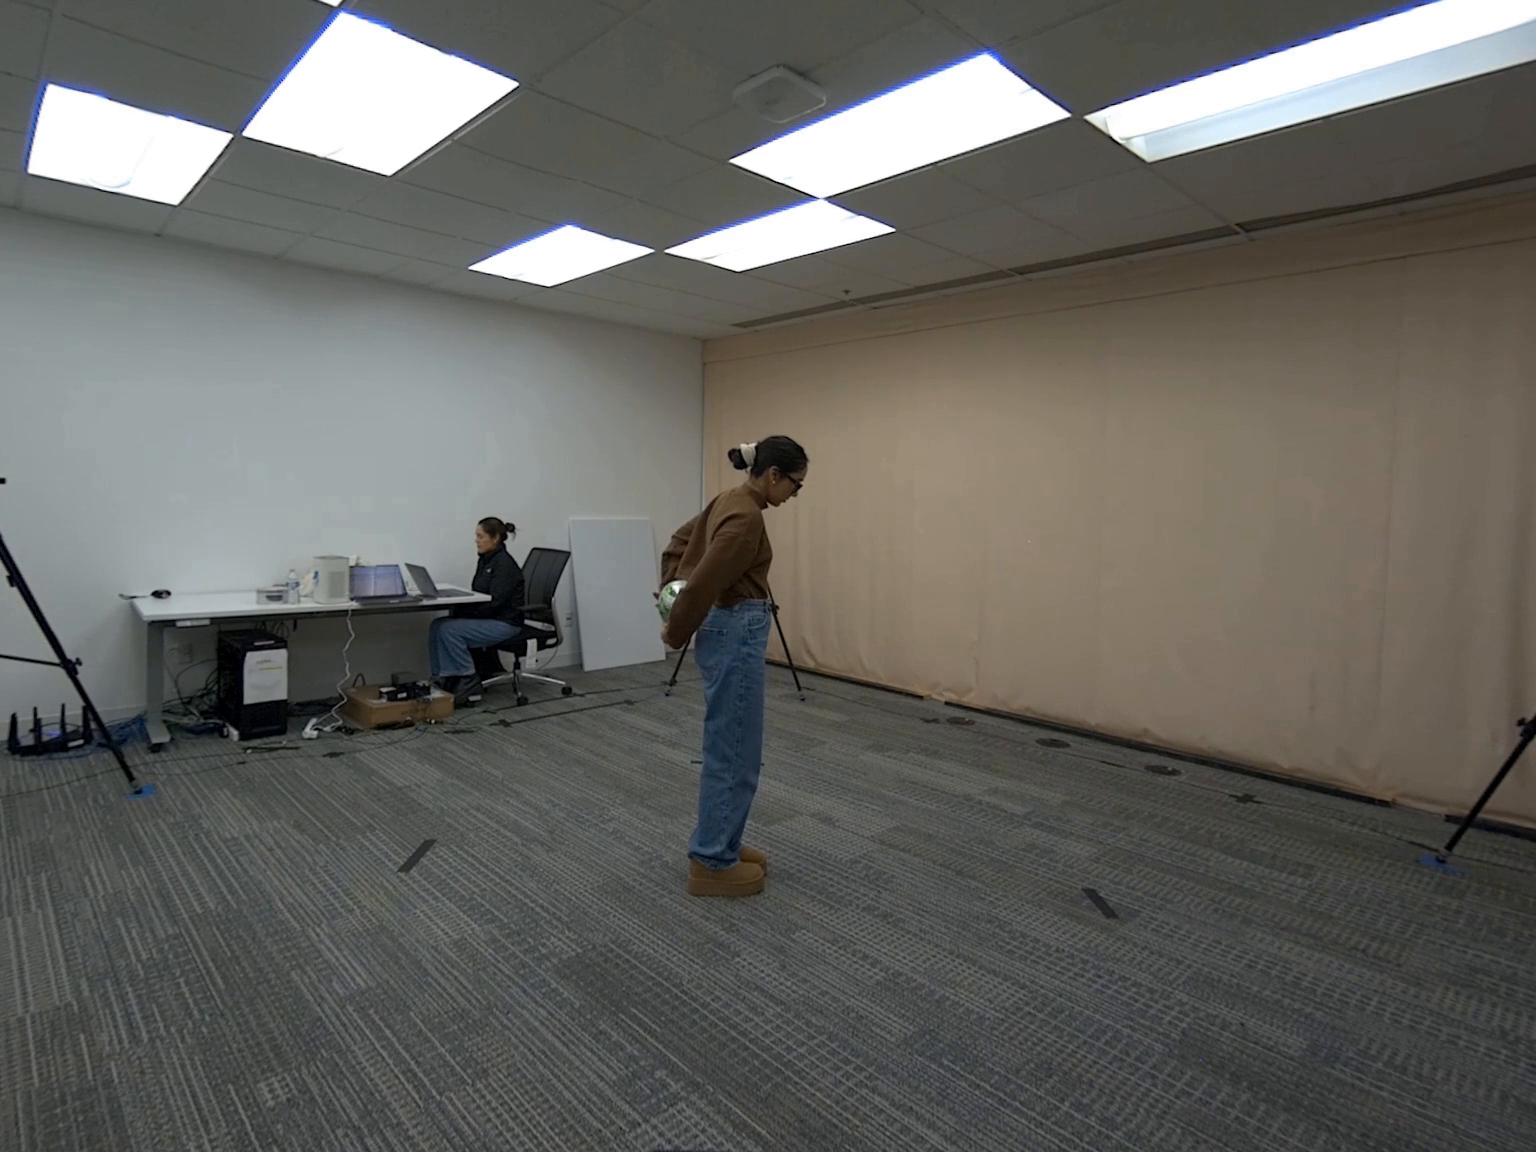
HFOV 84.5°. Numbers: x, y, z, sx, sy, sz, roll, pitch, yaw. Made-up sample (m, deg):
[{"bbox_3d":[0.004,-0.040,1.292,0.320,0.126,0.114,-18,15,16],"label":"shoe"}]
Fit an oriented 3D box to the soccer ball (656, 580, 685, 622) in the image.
[{"bbox_3d":[-0.302,0.106,3.053,0.187,0.187,0.188,1,4,-1],"label":"soccer ball"}]
